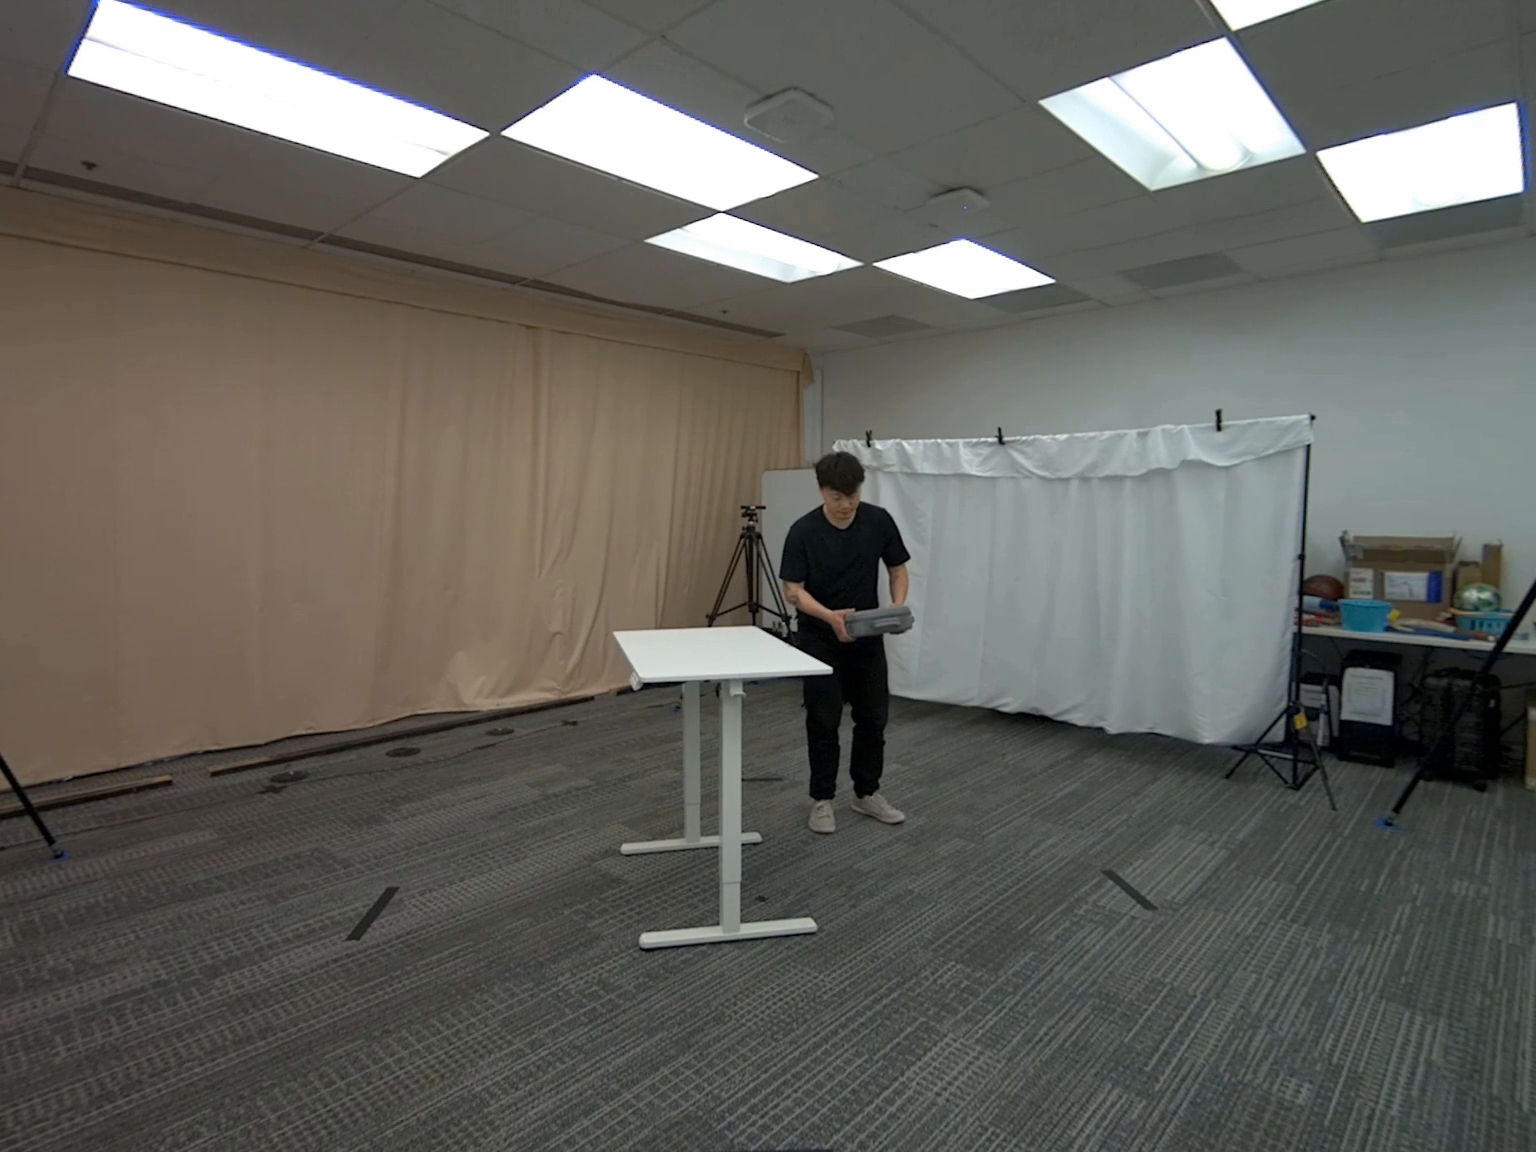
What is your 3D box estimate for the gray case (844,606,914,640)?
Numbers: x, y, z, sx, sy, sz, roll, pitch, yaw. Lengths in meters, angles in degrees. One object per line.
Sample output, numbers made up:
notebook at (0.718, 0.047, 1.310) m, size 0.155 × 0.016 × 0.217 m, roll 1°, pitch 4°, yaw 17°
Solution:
gray case at (0.436, 0.189, 3.435) m, size 0.255 × 0.105 × 0.262 m, roll -5°, pitch -3°, yaw -9°
